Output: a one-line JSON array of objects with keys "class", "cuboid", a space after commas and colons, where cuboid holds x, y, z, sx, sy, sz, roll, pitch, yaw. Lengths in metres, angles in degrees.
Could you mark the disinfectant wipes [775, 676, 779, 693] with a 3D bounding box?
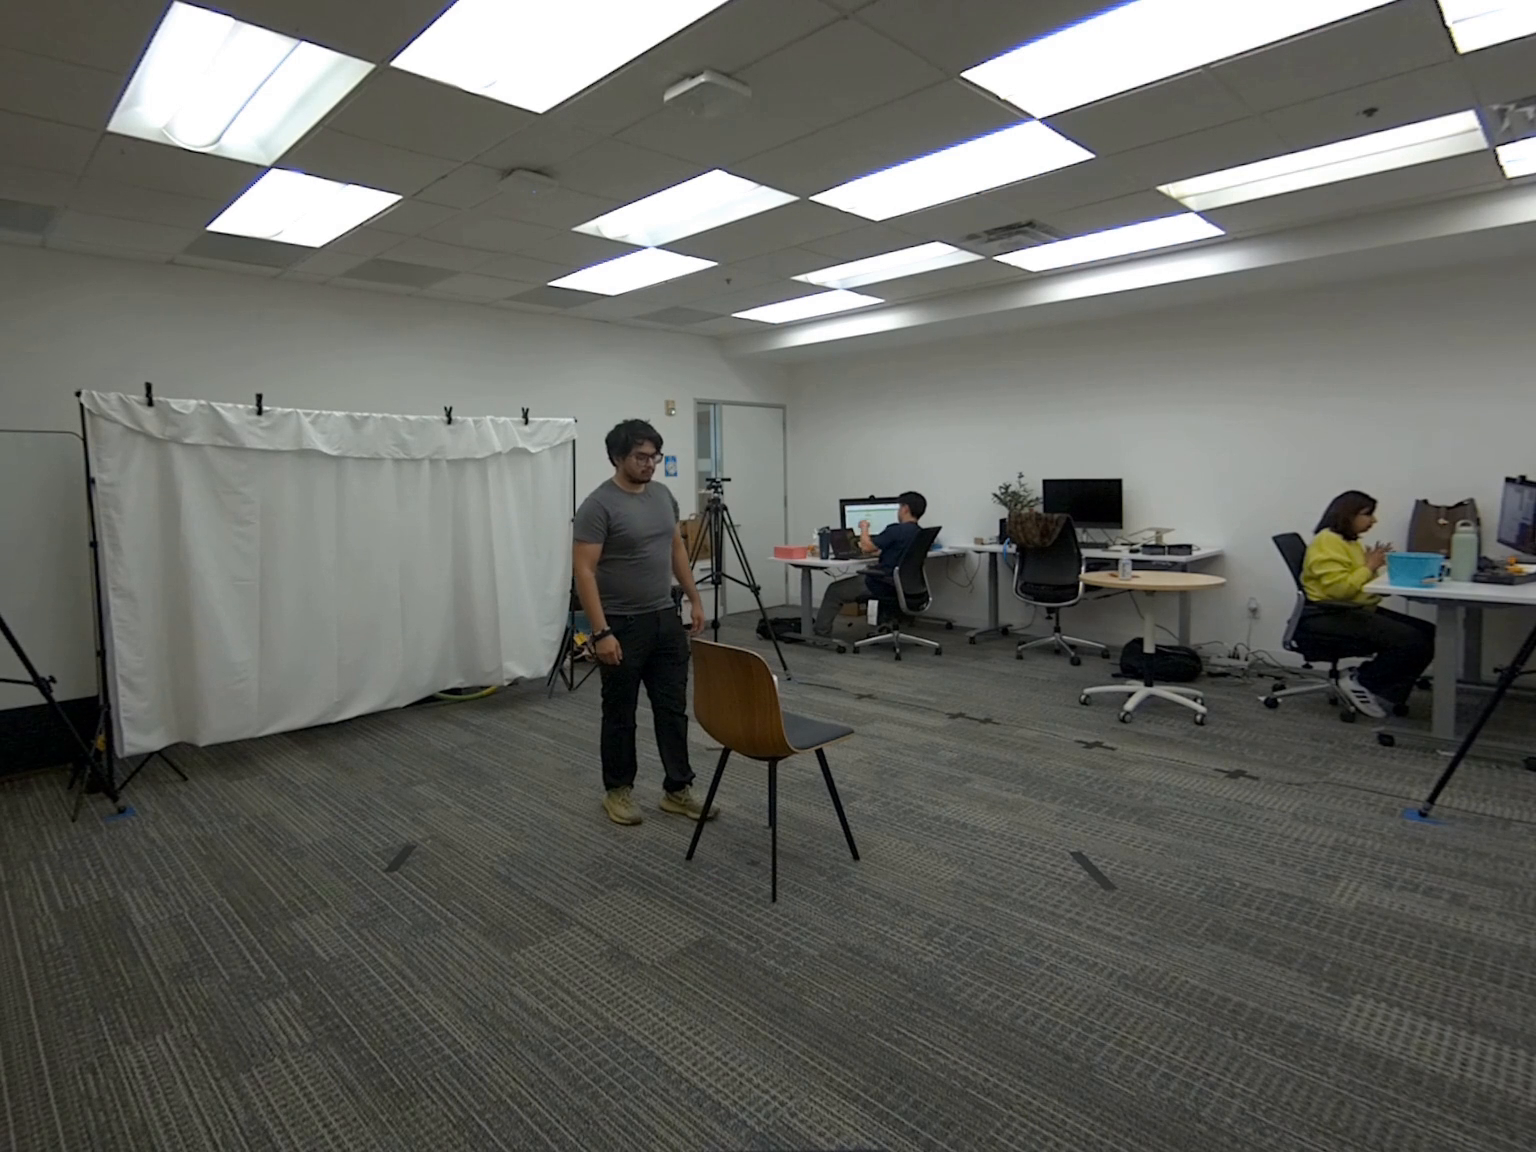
[{"class": "disinfectant wipes", "cuboid": [-0.013, 0.468, 3.057, 0.118, 0.217, 0.118, -2, 4, -1]}]
